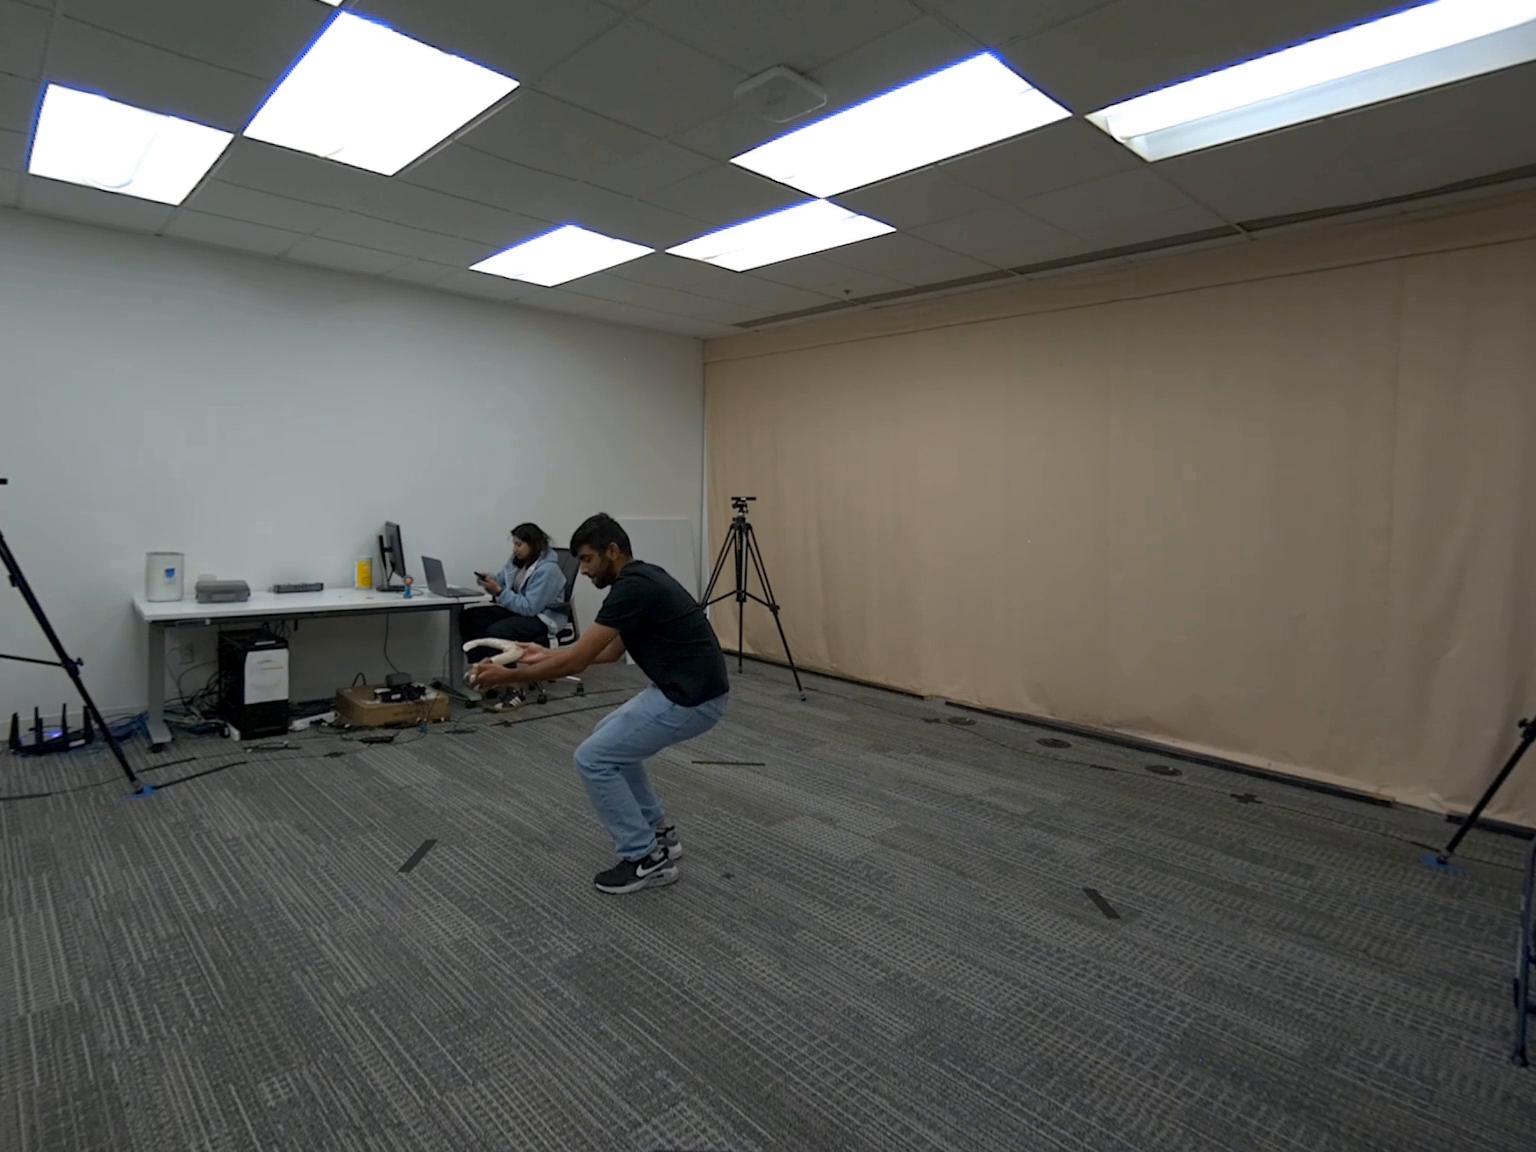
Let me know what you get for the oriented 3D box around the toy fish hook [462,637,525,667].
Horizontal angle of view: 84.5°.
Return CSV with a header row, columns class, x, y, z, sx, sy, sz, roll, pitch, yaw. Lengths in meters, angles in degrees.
class,x,y,z,sx,sy,sz,roll,pitch,yaw
toy fish hook,-1.088,0.314,3.190,0.225,0.048,0.507,8,8,3
